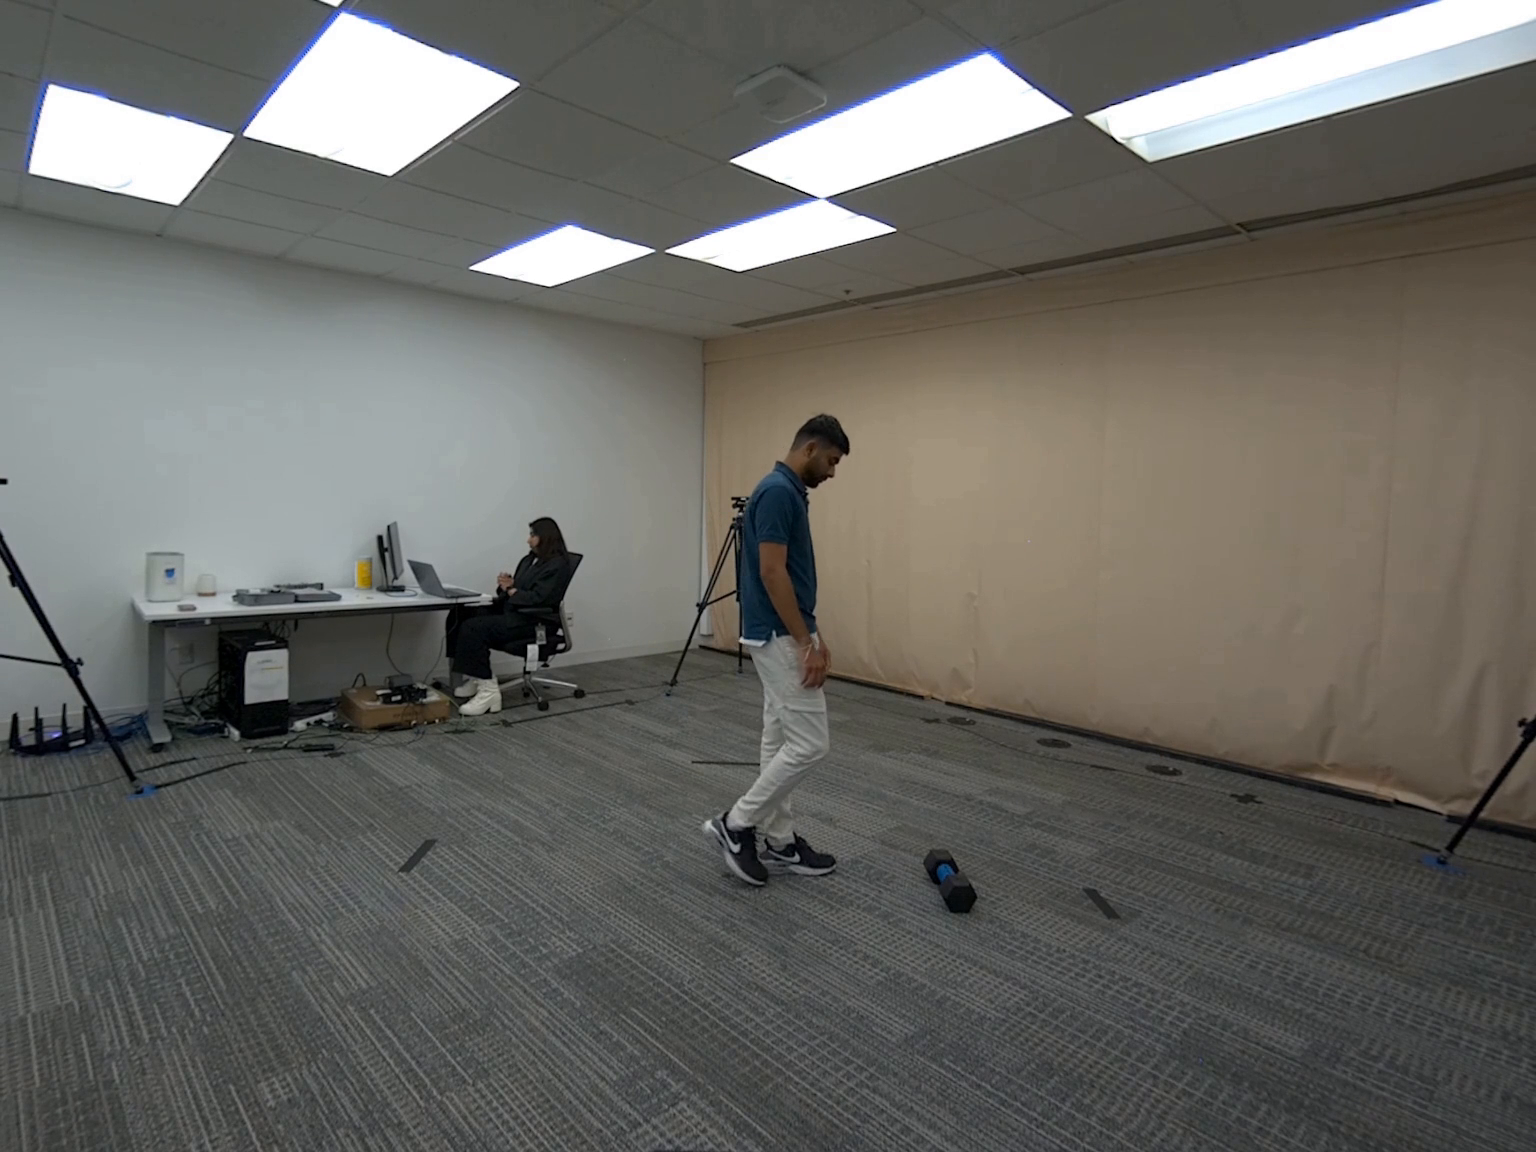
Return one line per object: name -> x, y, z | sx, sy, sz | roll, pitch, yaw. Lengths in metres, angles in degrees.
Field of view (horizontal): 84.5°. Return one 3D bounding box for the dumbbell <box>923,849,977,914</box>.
dumbbell -> 0.640, 1.084, 3.002 | 0.123, 0.108, 0.295 | 2, 5, -3
